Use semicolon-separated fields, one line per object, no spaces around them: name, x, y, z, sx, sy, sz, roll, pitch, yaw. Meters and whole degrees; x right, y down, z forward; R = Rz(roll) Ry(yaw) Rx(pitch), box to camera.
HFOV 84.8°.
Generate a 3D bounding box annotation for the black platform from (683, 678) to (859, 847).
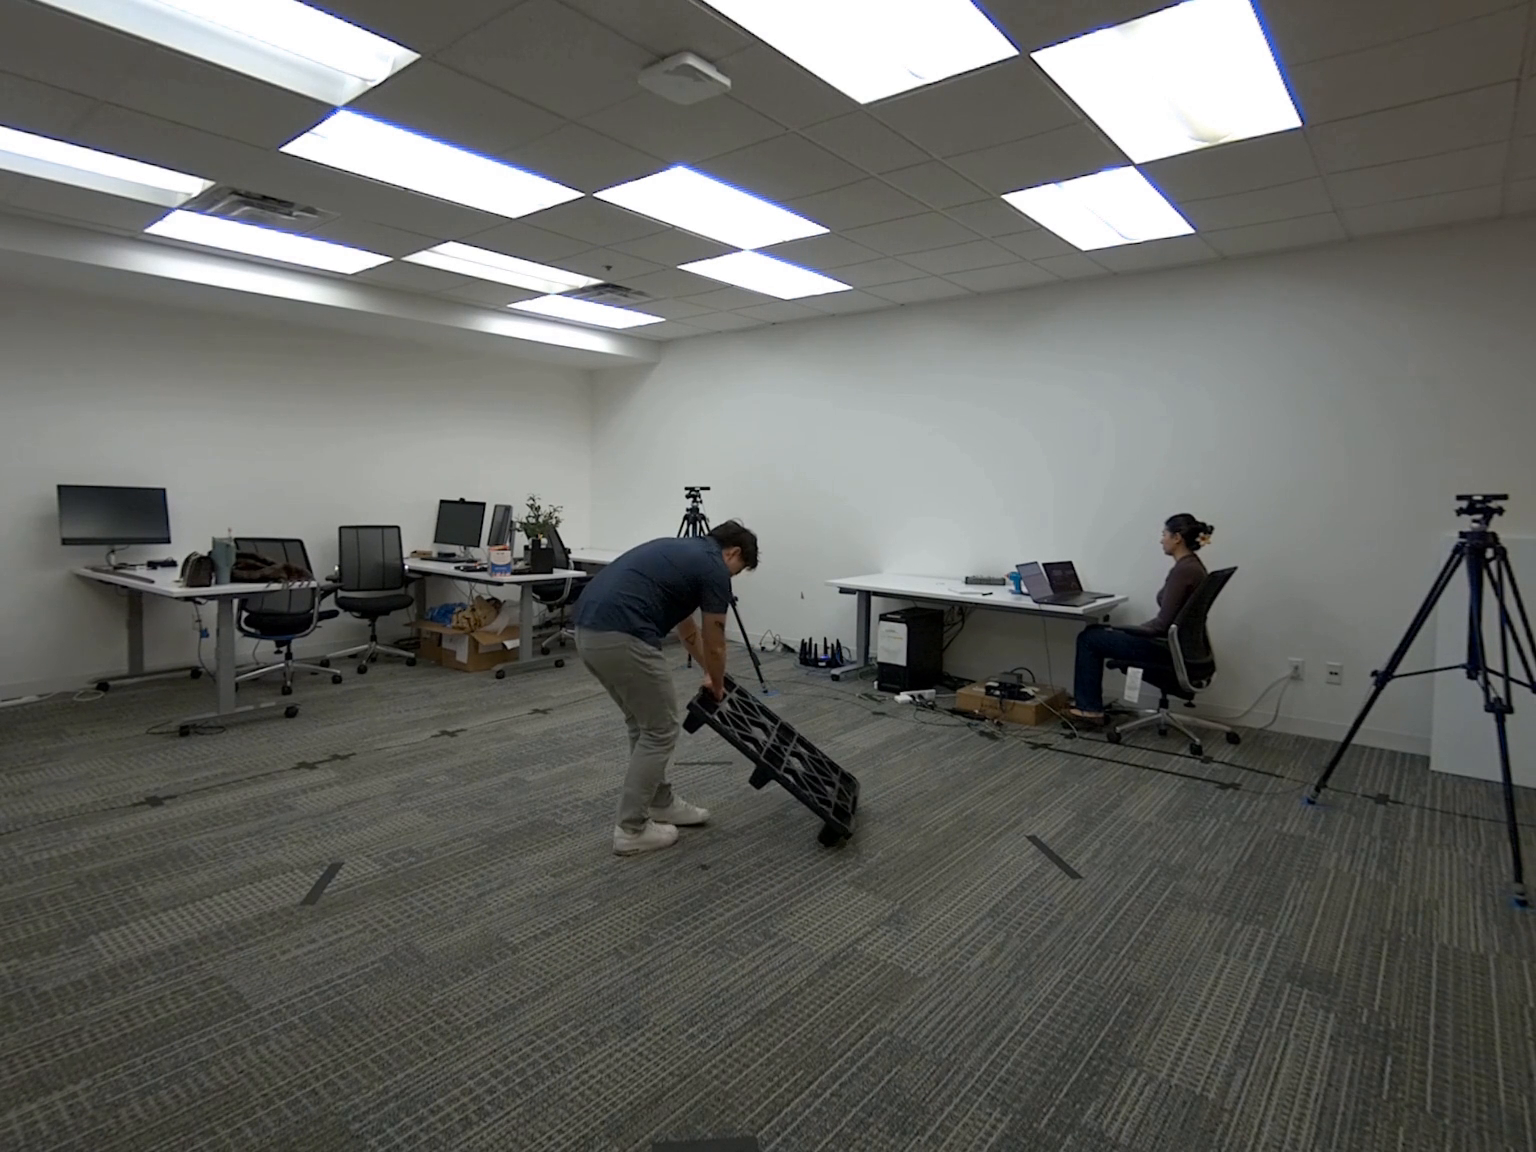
black platform;-0.002;0.749;3.579;0.816;0.143;0.598;39;8;8
